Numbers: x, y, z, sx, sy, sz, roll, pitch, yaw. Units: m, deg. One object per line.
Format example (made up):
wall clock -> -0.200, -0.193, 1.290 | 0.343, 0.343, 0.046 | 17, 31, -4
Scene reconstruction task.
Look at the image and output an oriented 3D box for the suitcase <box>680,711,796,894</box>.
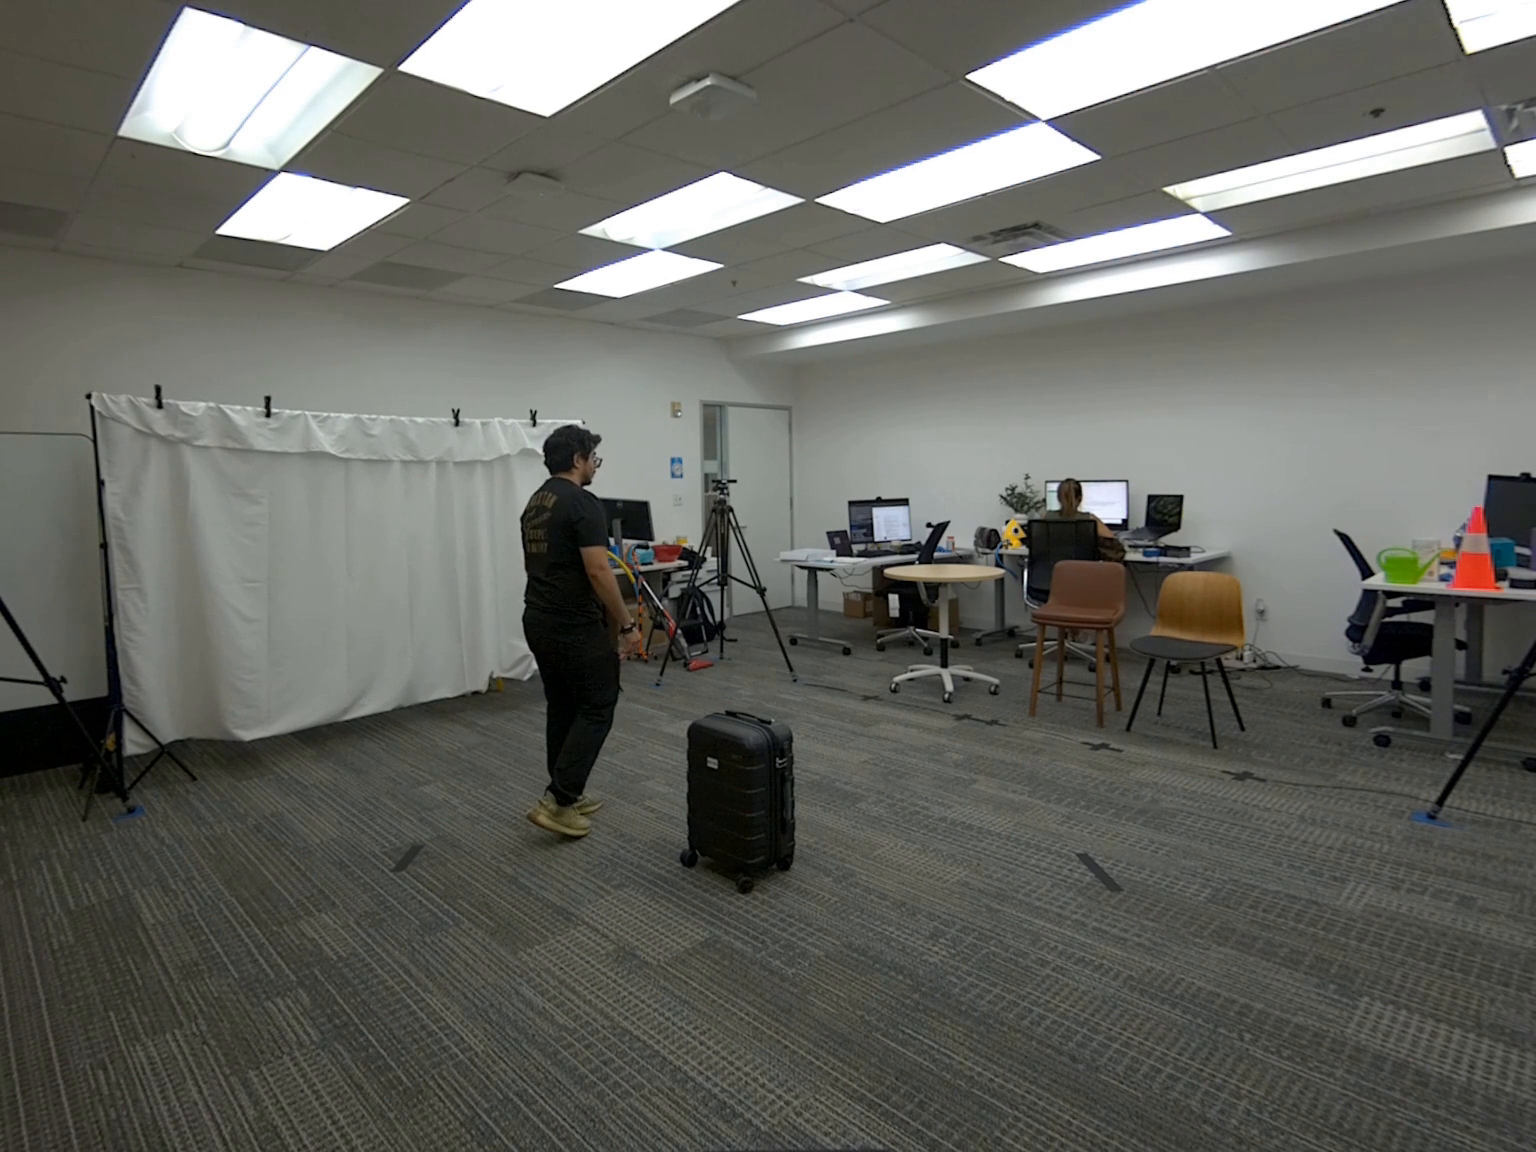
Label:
suitcase -> -0.098, 0.778, 3.069 | 0.387, 0.547, 0.241 | 4, 5, 44
